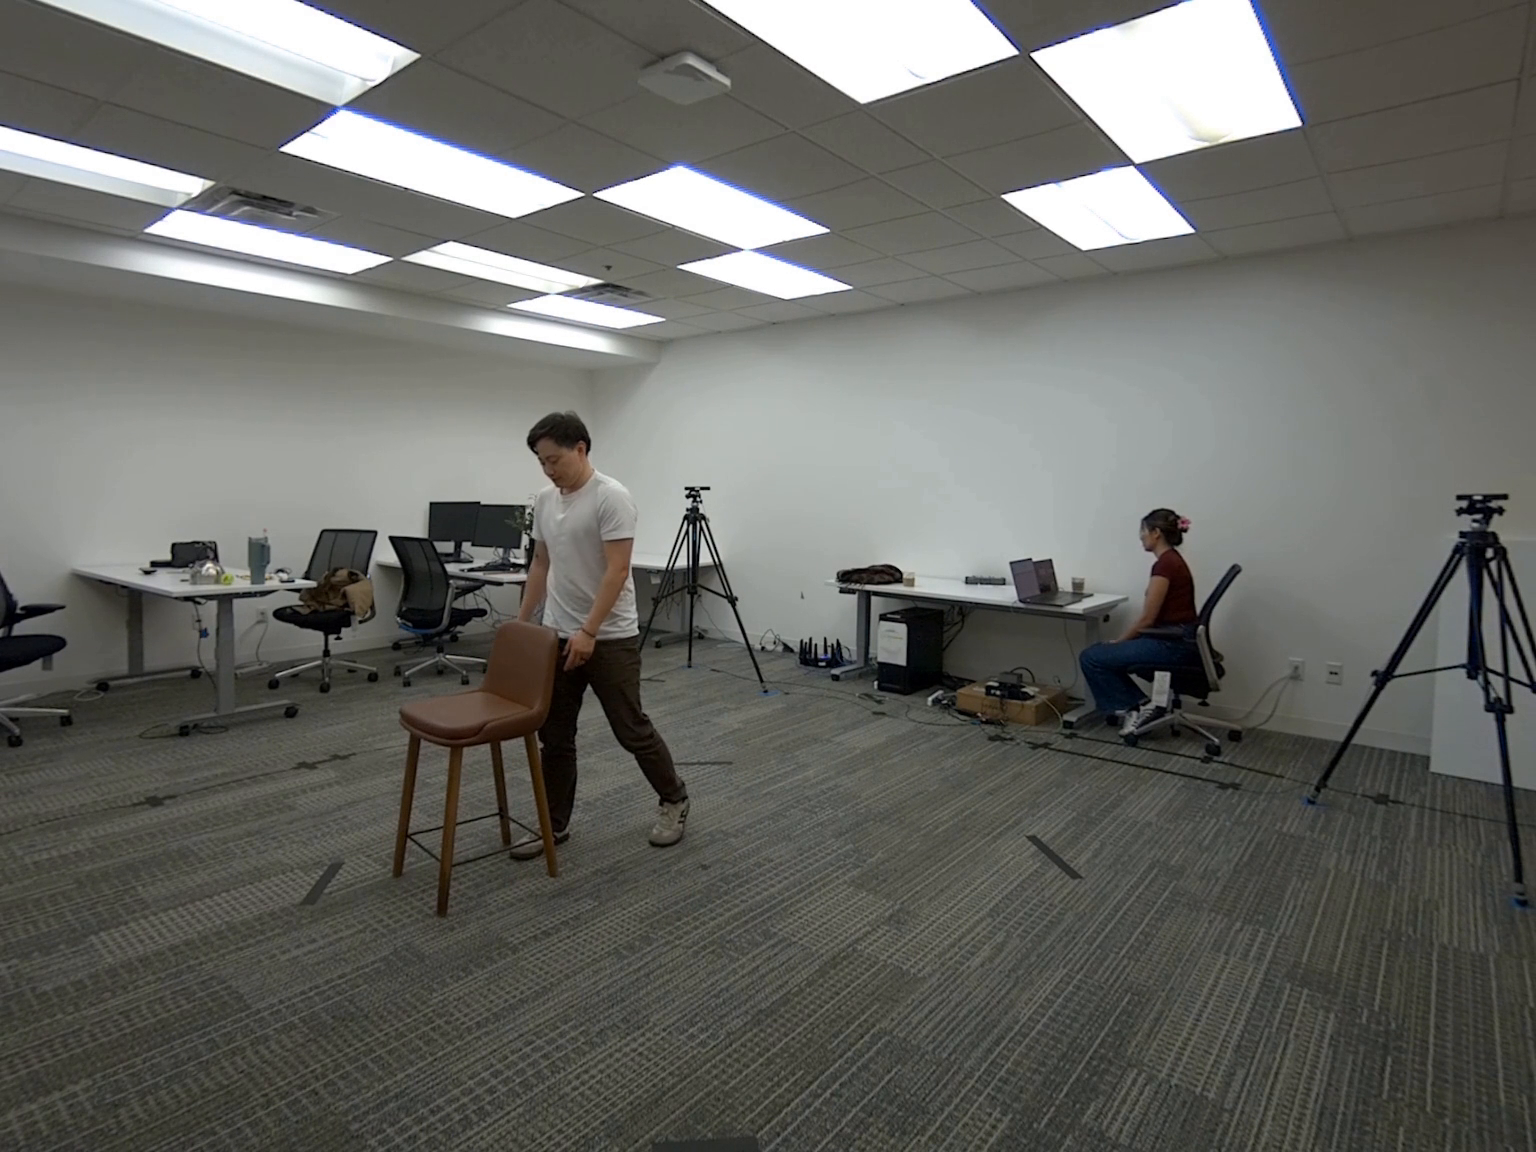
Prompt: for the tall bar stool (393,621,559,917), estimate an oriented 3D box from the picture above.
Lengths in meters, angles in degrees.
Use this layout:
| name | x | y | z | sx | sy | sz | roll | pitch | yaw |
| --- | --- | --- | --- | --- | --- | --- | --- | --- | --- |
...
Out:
| name | x | y | z | sx | sy | sz | roll | pitch | yaw |
| --- | --- | --- | --- | --- | --- | --- | --- | --- | --- |
| tall bar stool | -1.030 | 0.629 | 3.006 | 0.453 | 0.889 | 0.472 | 1 | 2 | -43 |
